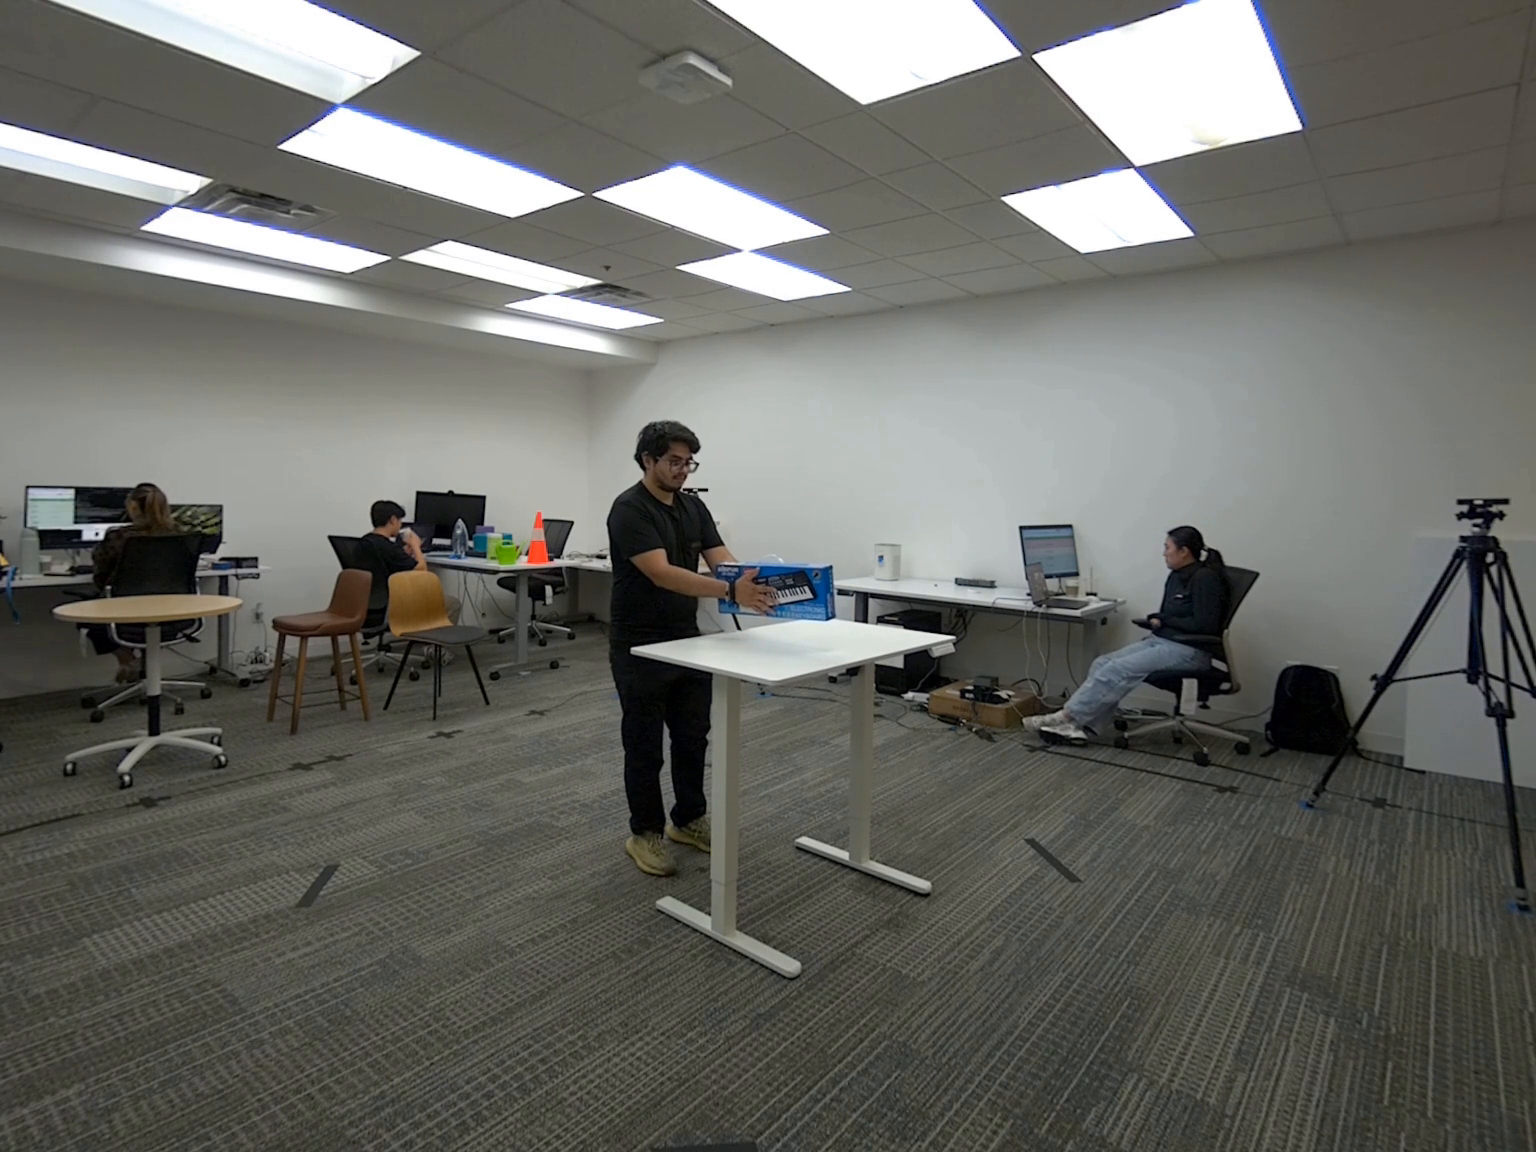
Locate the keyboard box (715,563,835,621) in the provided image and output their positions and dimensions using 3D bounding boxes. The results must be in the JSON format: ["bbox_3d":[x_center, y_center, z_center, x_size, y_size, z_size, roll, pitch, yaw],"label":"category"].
[{"bbox_3d":[0.013,0.049,2.806,0.450,0.175,0.057,1,7,37],"label":"keyboard box"}]
